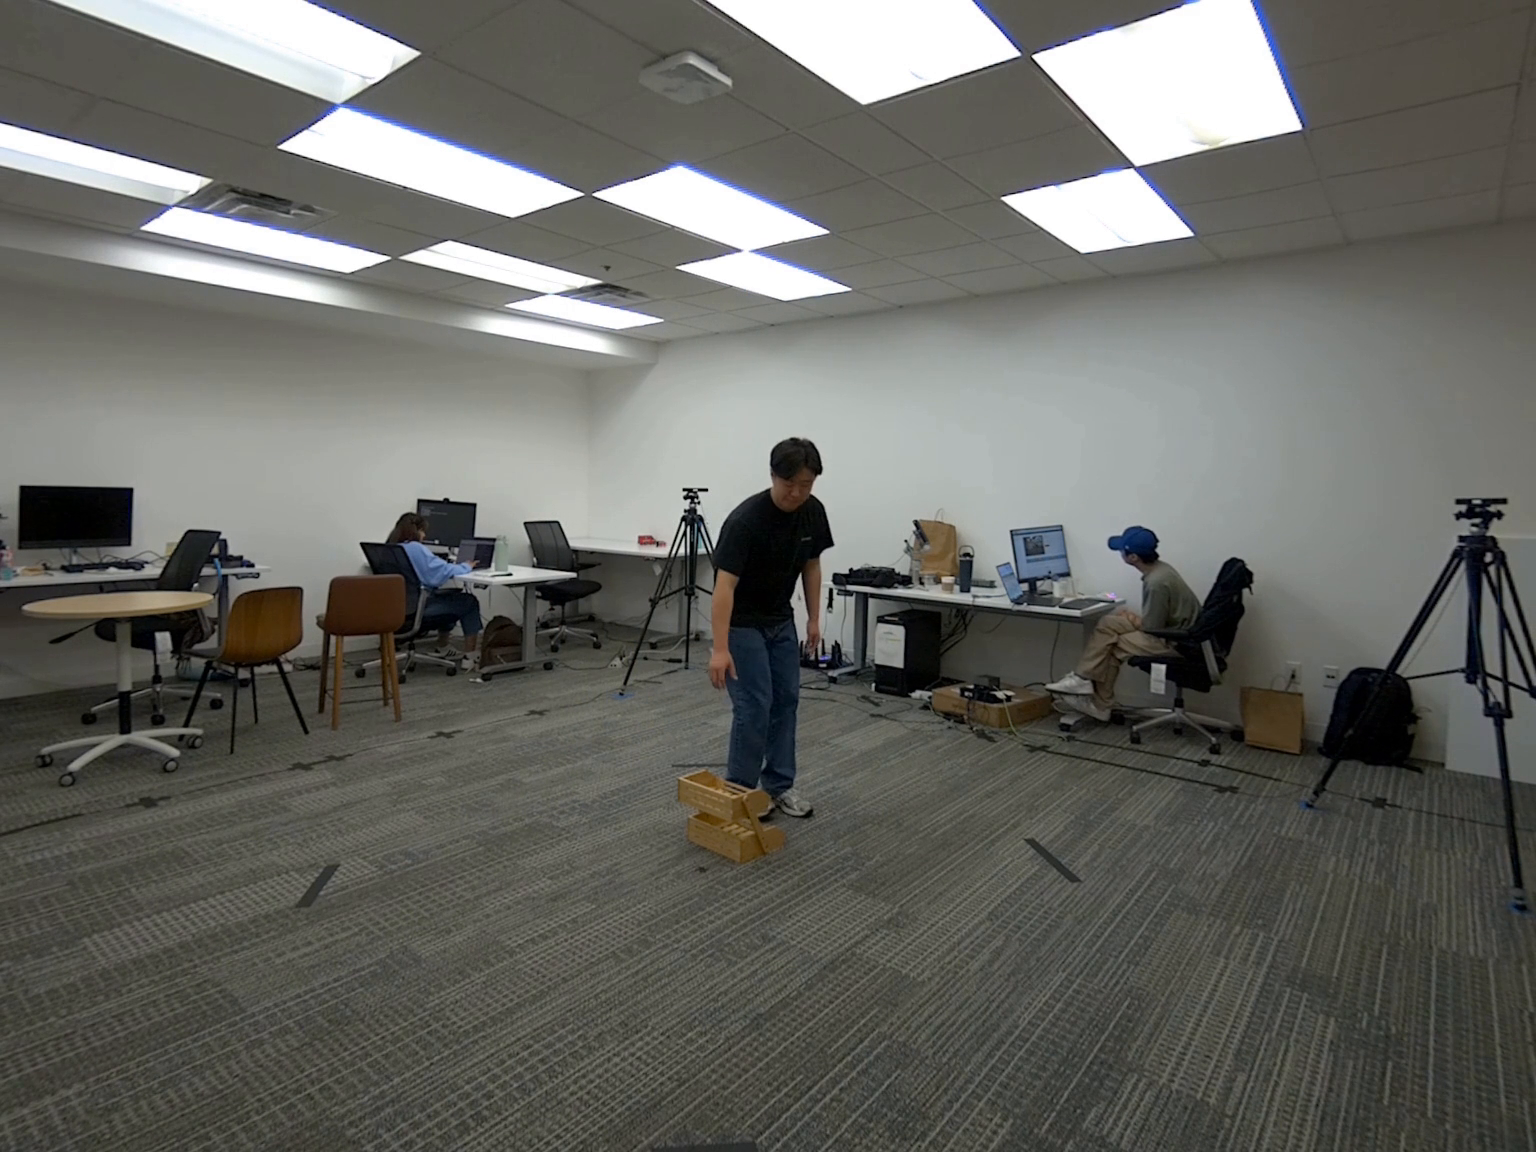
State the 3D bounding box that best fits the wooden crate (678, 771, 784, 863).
[{"bbox_3d":[-0.152,0.916,3.332,0.335,0.272,0.293,5,6,43],"label":"wooden crate"}]
